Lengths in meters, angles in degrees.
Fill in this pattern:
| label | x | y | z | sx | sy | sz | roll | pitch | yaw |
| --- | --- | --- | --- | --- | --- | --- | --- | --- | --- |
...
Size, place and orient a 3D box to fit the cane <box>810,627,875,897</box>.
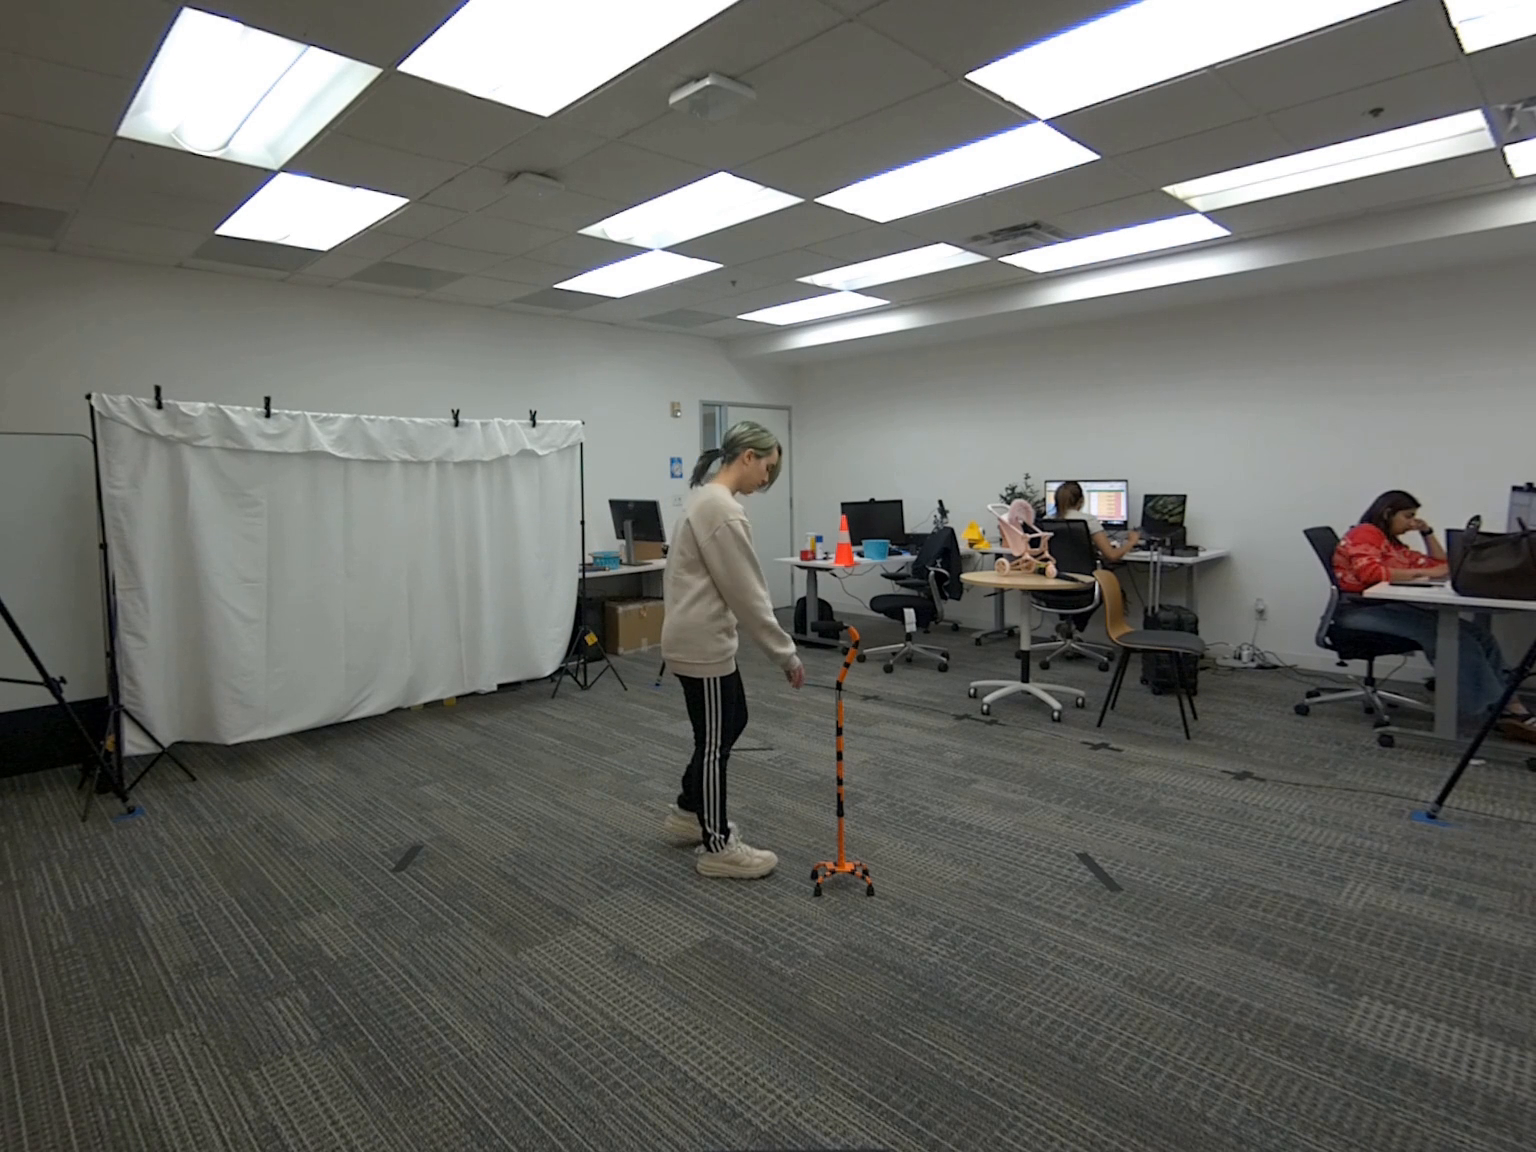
| label | x | y | z | sx | sy | sz | roll | pitch | yaw |
| --- | --- | --- | --- | --- | --- | --- | --- | --- | --- |
| cane | 0.248 | 0.605 | 2.896 | 0.206 | 0.904 | 0.152 | -1 | 4 | -1 |
